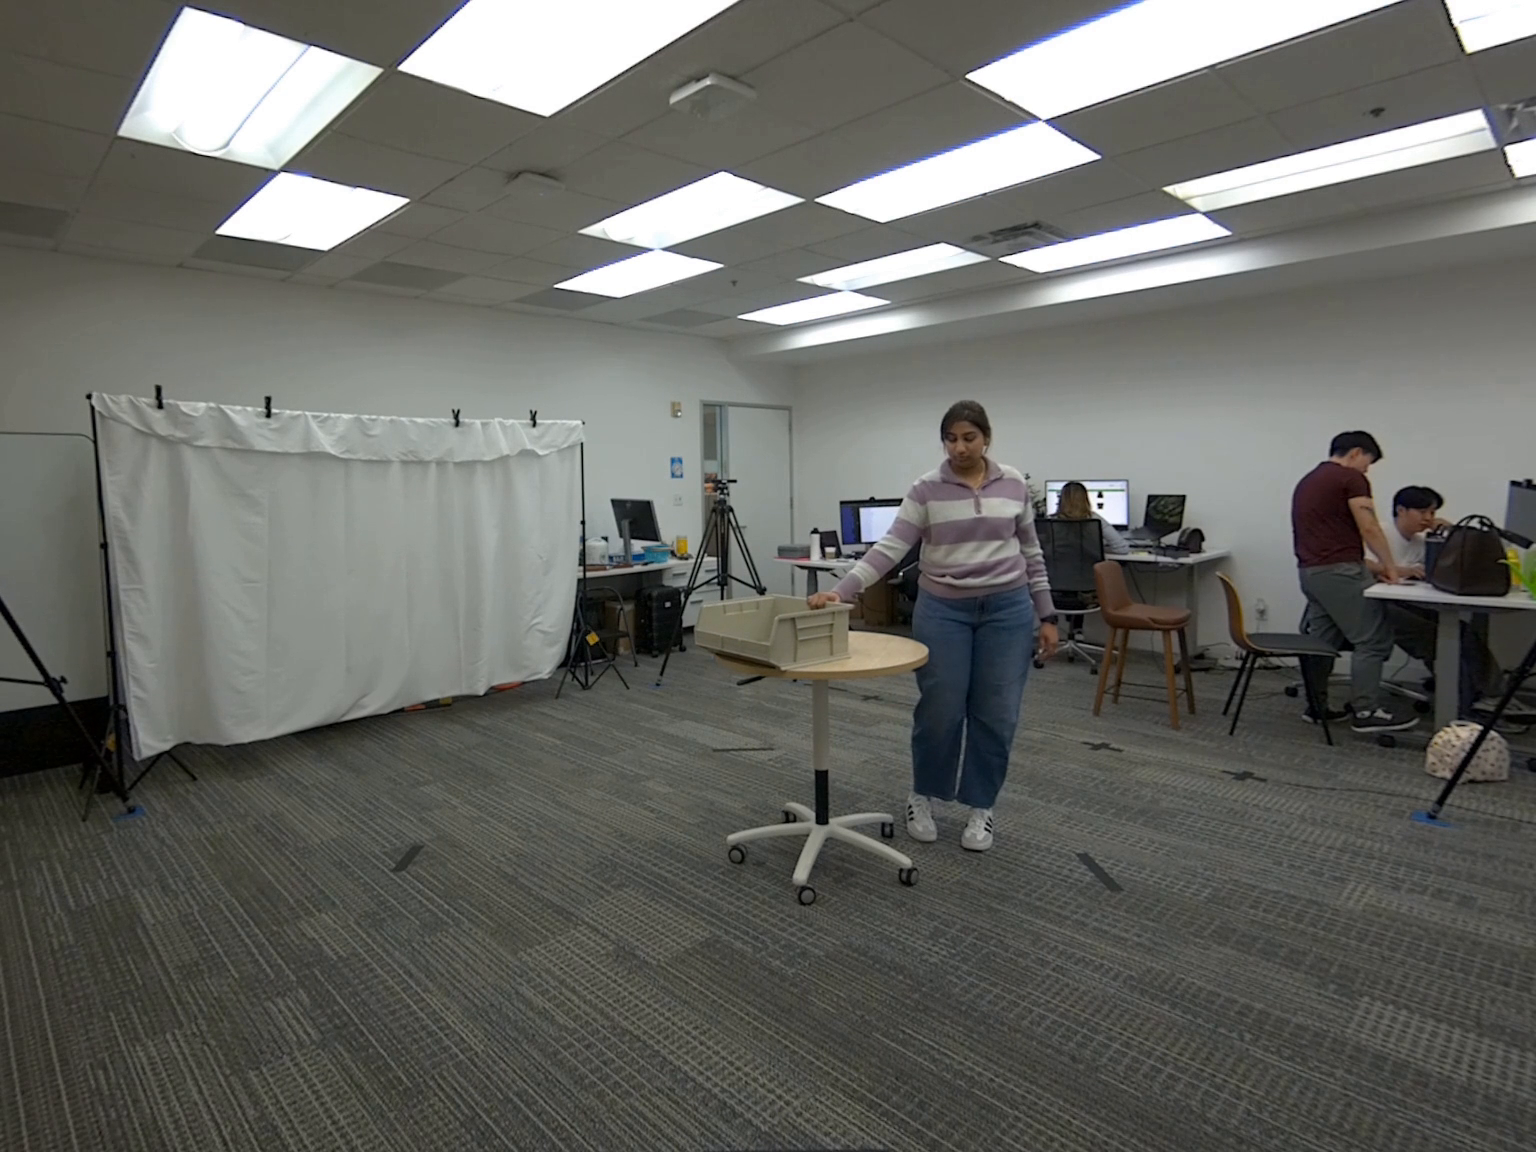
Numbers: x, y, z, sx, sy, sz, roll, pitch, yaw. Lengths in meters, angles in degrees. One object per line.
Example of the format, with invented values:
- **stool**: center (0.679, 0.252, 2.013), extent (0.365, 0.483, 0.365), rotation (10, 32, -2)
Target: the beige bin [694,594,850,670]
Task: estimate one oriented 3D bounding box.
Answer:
- **beige bin**: center (0.019, 0.189, 2.964), extent (0.367, 0.188, 0.435), rotation (-4, 6, -38)
